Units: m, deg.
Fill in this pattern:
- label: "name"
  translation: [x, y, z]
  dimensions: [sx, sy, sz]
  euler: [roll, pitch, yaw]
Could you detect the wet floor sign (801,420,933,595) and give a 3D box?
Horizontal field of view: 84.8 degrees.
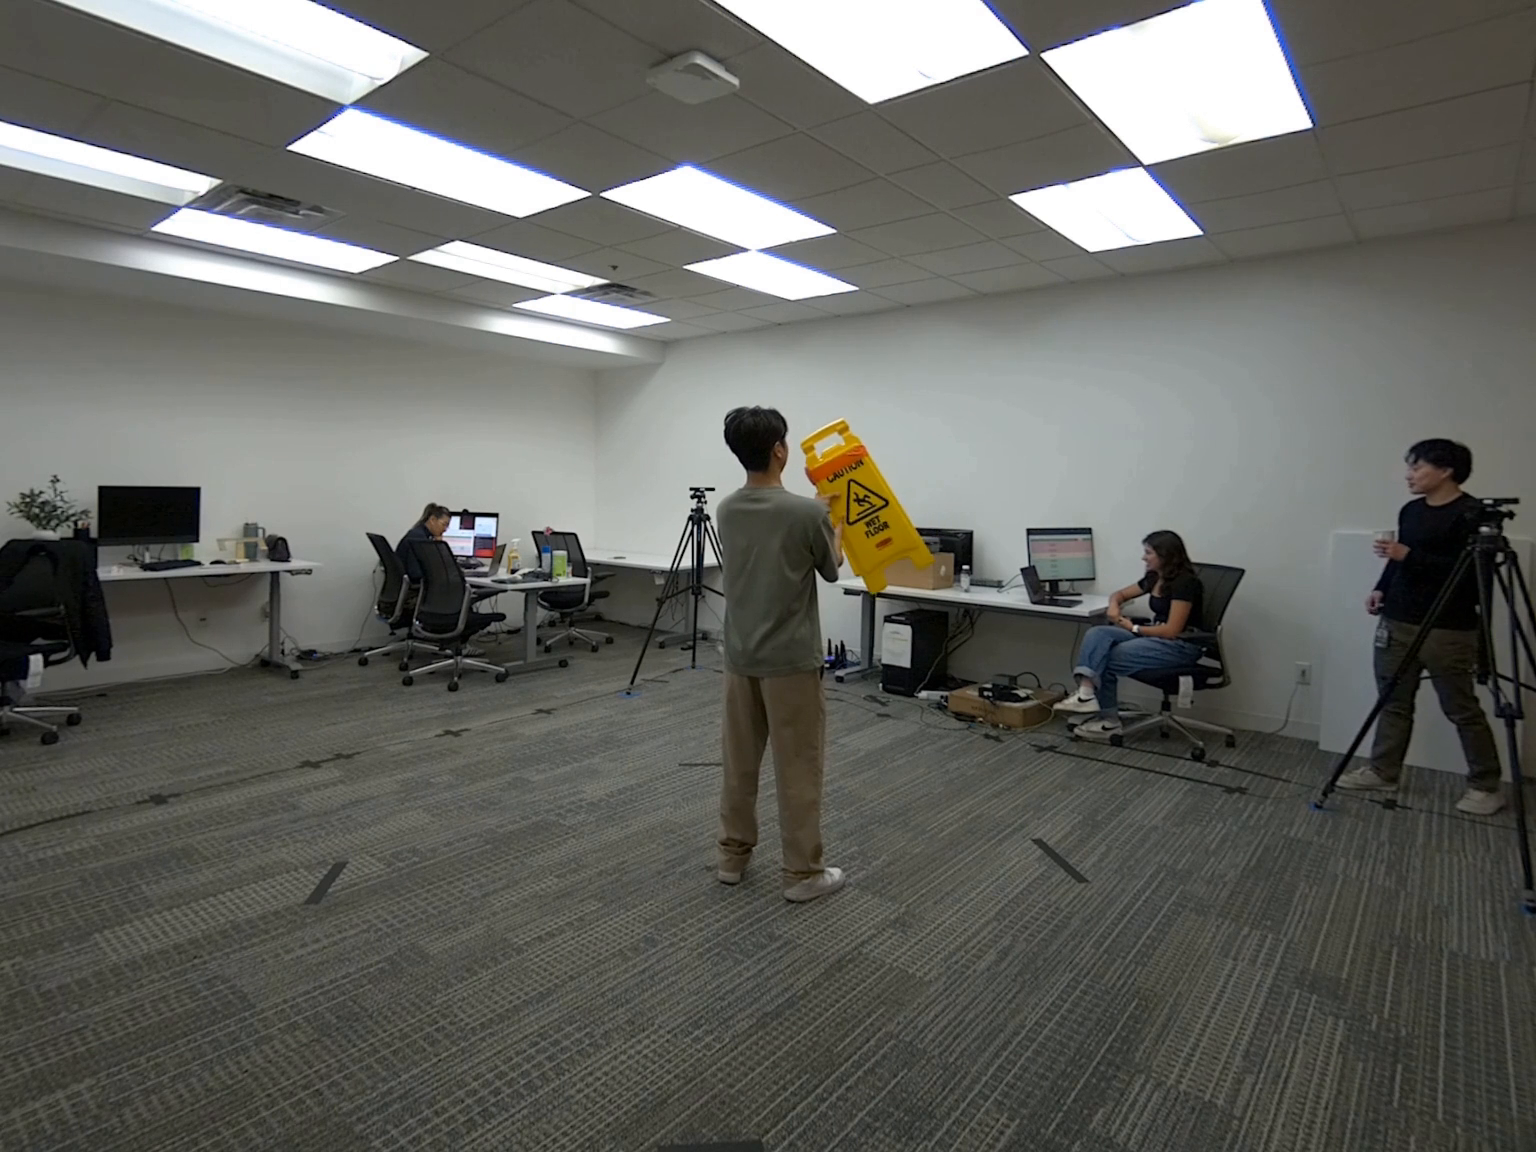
- label: "wet floor sign"
  translation: [0.342, -0.295, 3.326]
  dimensions: [0.283, 0.633, 0.295]
  euler: [-29, 15, 4]
